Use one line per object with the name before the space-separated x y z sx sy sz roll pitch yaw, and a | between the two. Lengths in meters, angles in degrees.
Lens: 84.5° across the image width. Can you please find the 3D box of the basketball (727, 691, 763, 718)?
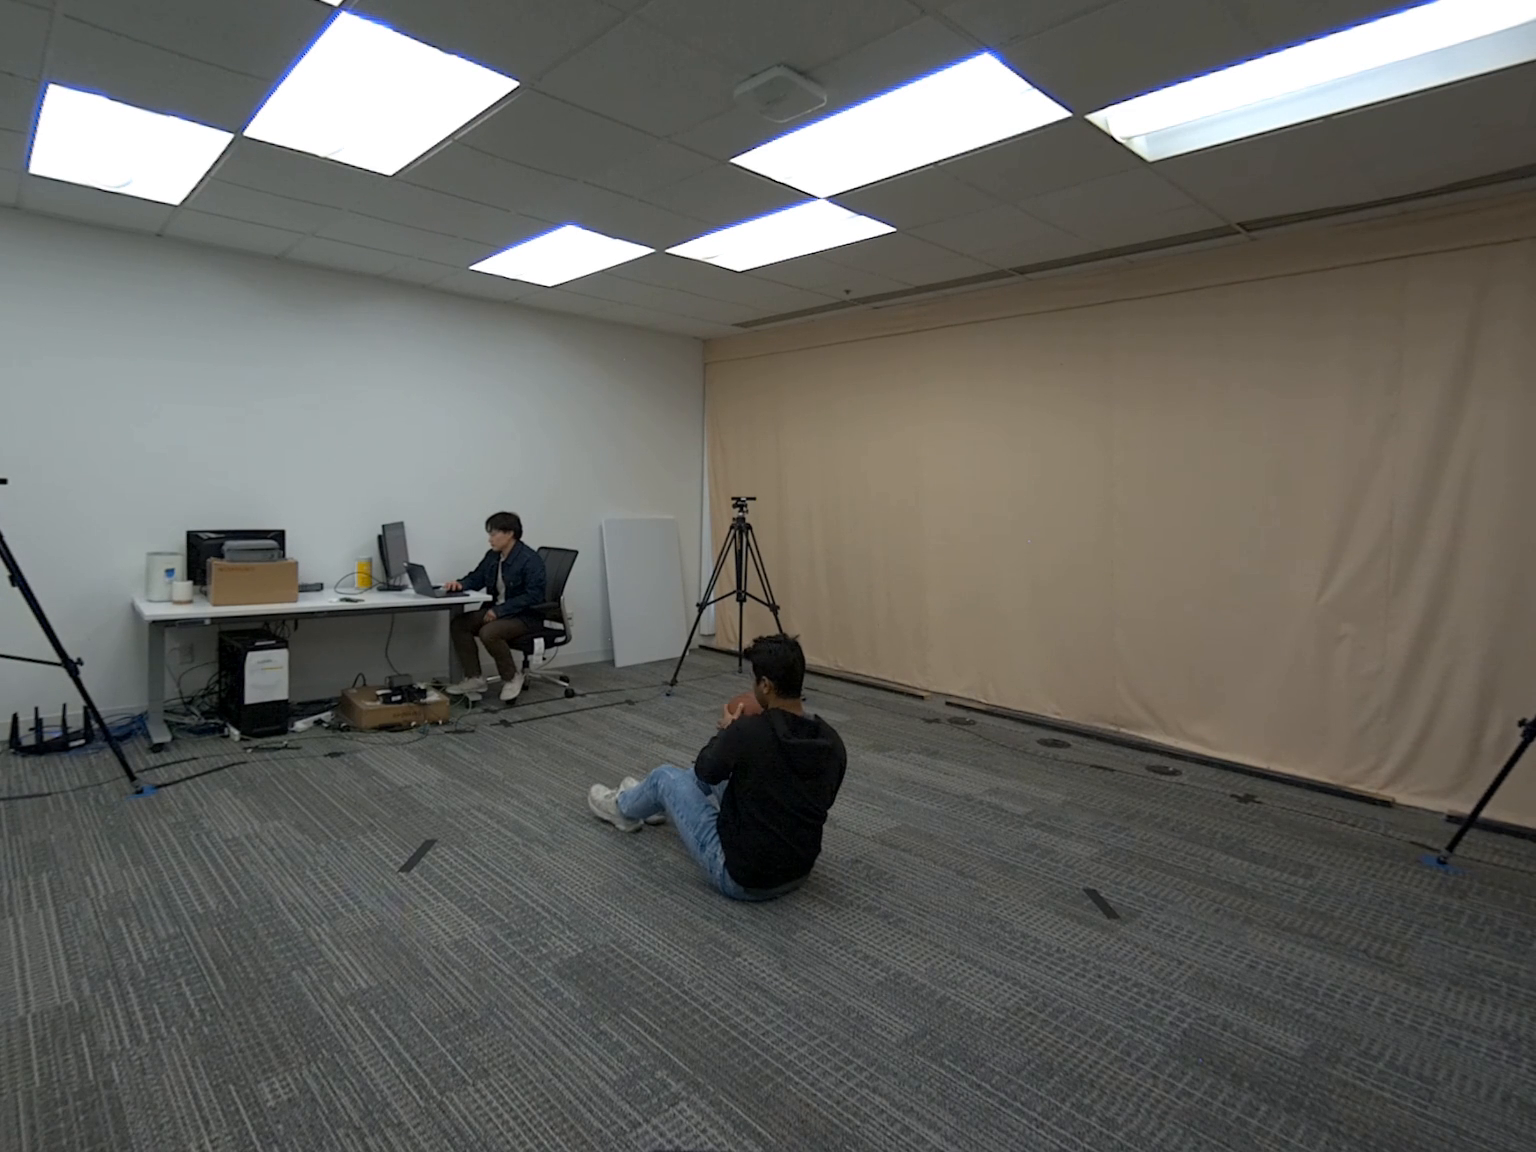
basketball | -0.080 0.608 3.464 0.236 0.235 0.237 1 4 -1
